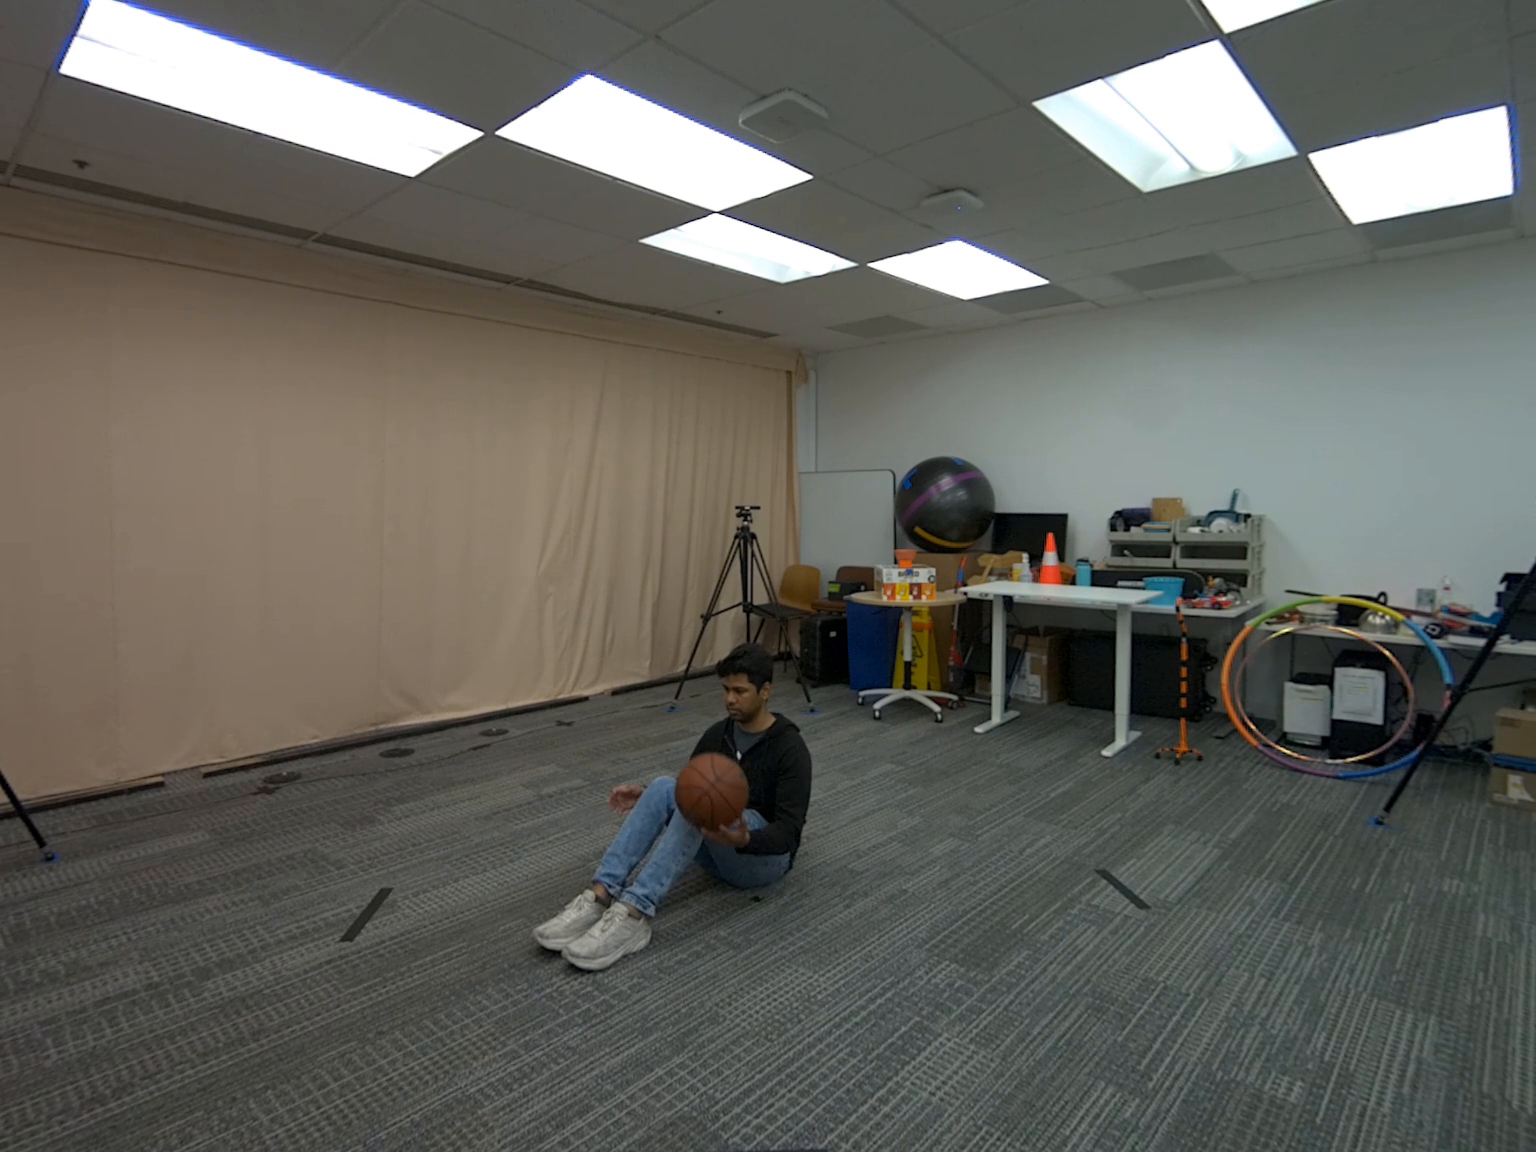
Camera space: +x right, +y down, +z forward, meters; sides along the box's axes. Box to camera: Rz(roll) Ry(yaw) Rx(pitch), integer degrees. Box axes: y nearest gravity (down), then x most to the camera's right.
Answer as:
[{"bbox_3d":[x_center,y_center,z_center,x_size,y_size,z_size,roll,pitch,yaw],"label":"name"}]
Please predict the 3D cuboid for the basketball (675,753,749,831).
[{"bbox_3d":[-0.192,0.704,2.736,0.236,0.235,0.237,0,4,-2],"label":"basketball"}]
